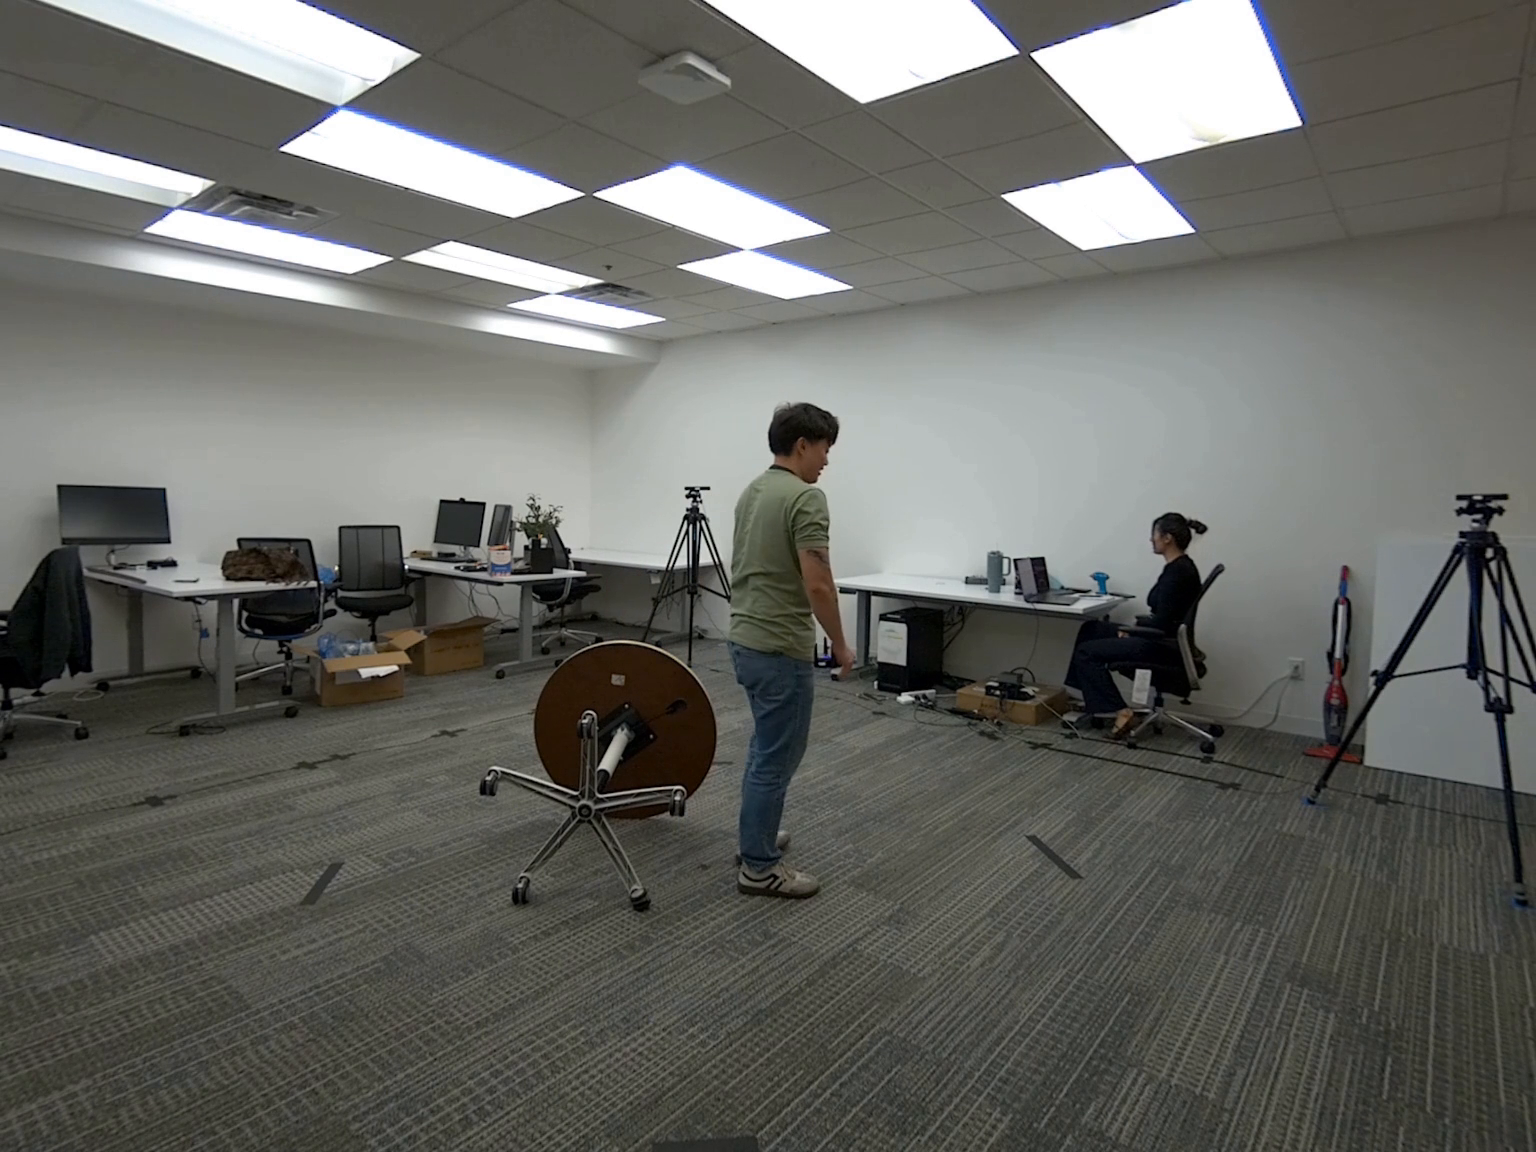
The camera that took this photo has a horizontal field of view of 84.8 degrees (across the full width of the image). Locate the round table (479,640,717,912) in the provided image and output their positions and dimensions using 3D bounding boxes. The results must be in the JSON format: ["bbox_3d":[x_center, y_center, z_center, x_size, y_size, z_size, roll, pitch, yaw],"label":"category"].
[{"bbox_3d":[-0.607,0.724,3.130,0.766,0.757,0.799,1,11,2],"label":"round table"}]
